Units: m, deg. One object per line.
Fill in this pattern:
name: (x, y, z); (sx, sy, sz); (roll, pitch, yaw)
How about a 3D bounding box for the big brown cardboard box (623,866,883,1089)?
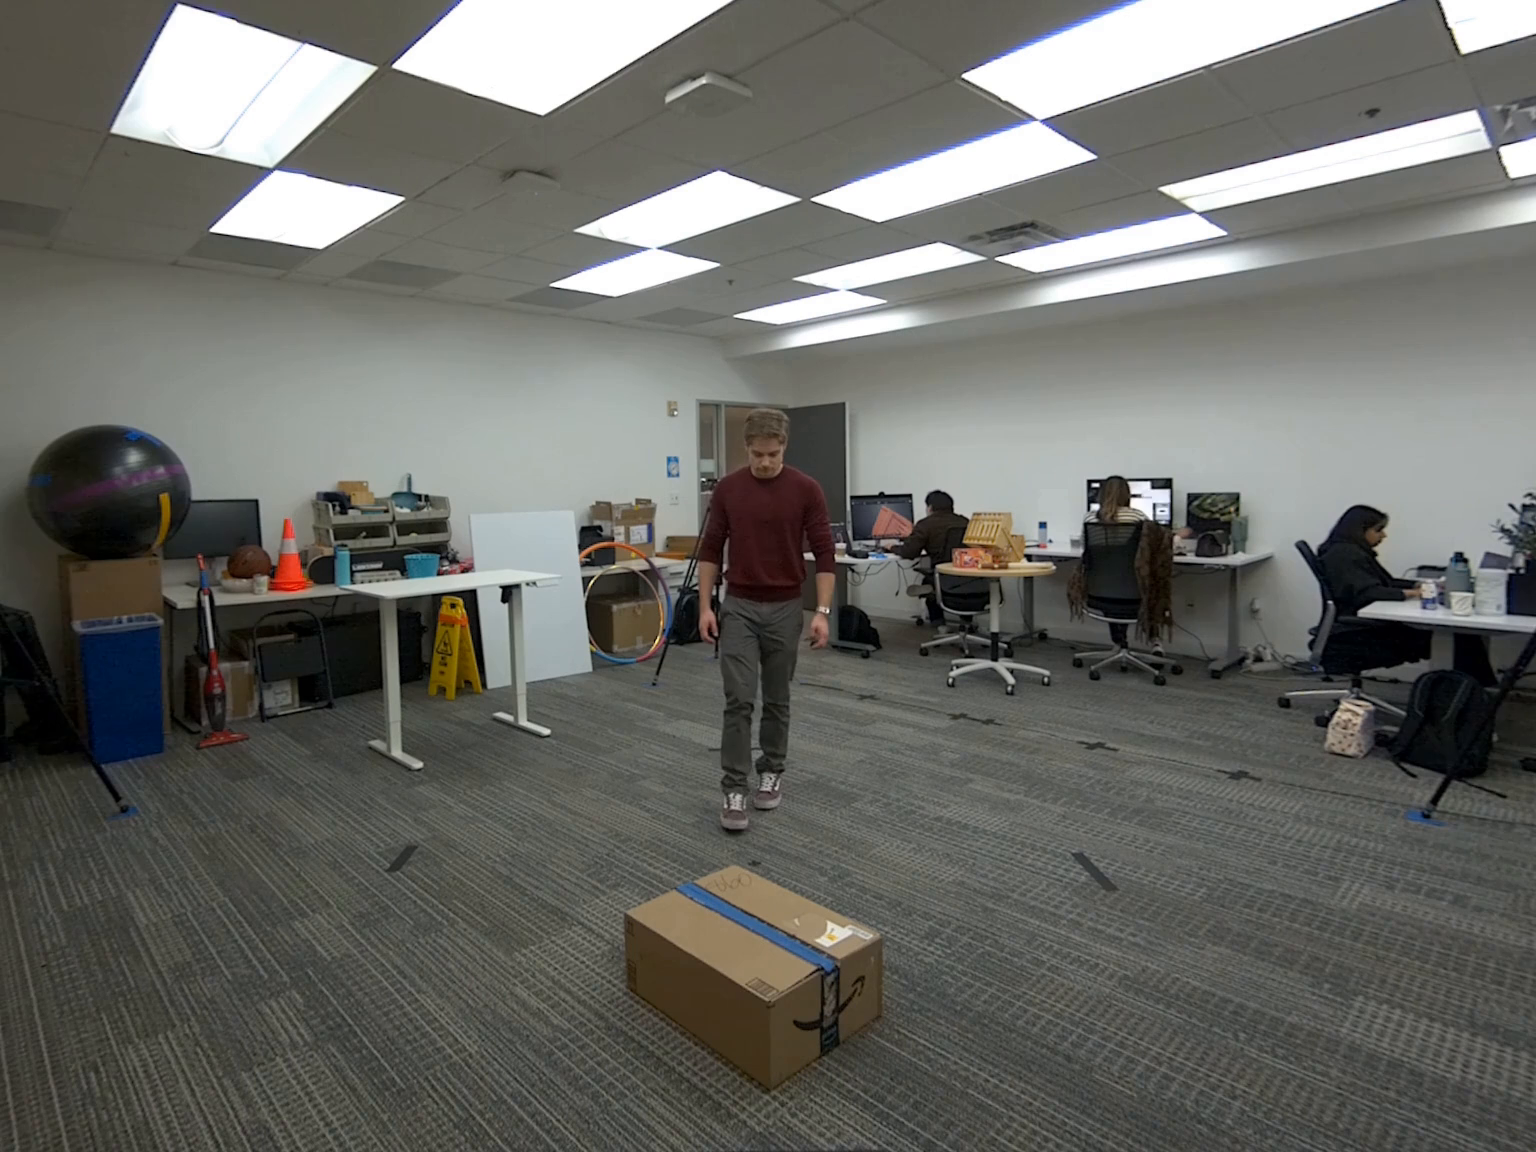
big brown cardboard box: (-0.050, 1.028, 2.286); (0.407, 0.232, 0.607); (-7, 8, -43)
